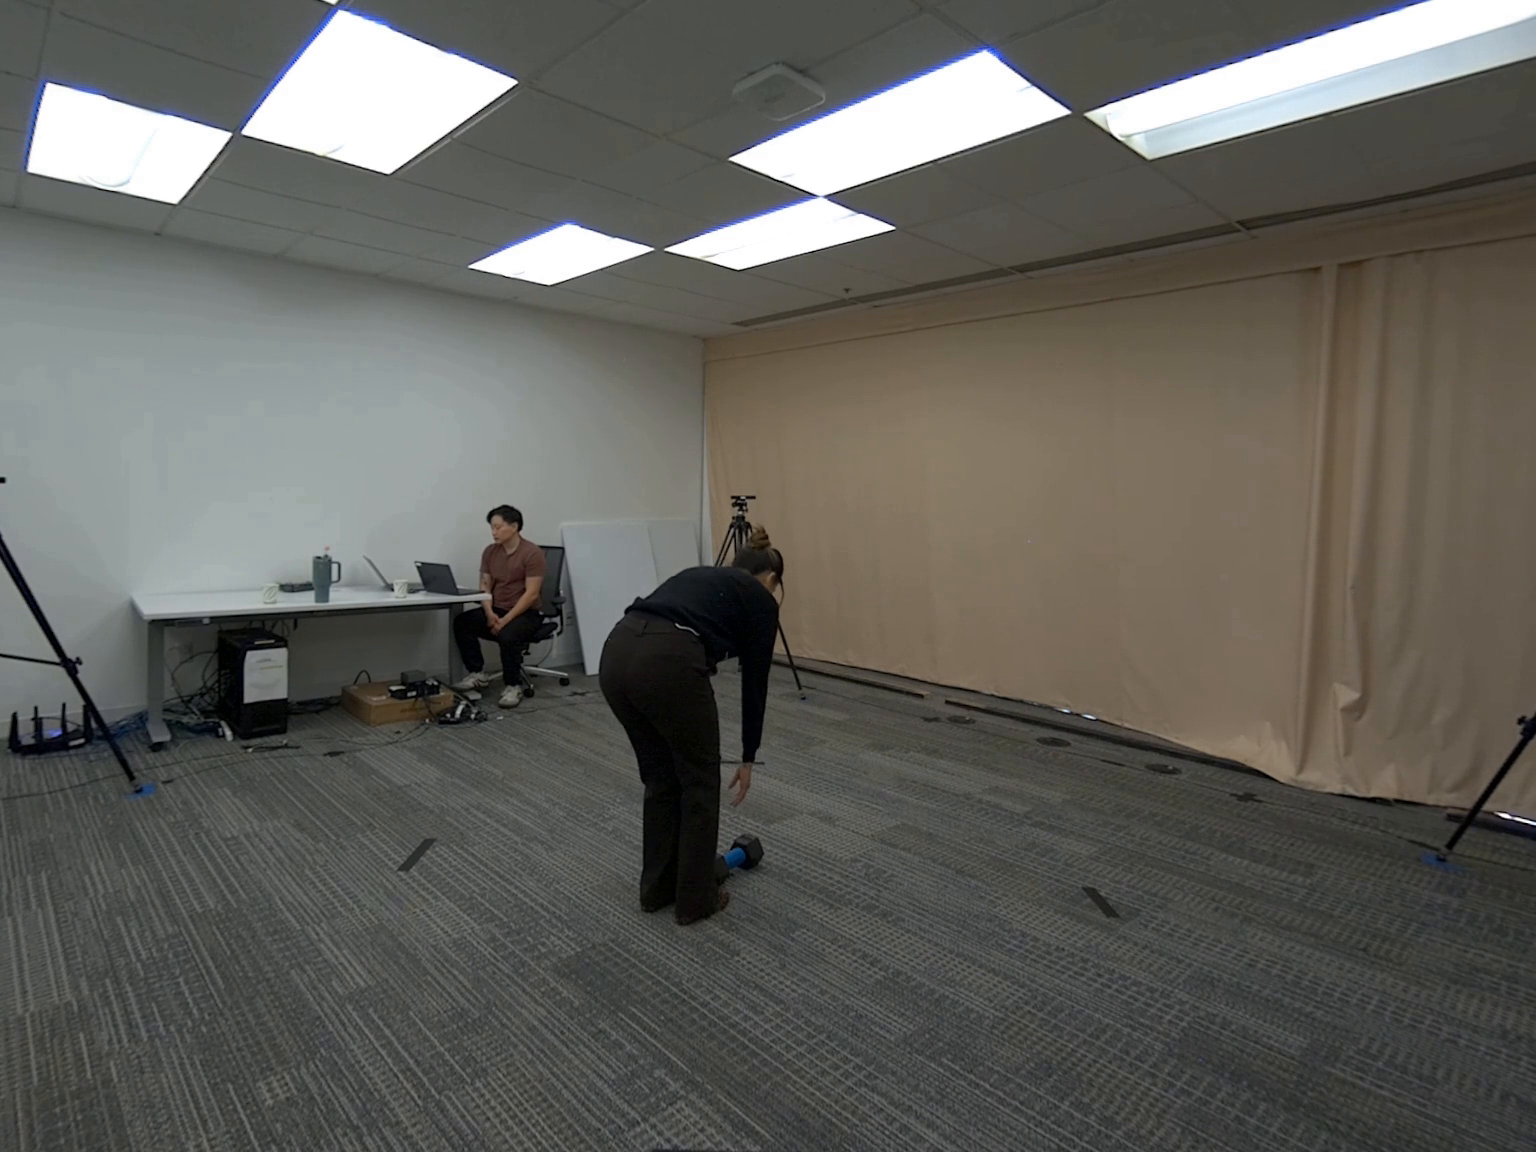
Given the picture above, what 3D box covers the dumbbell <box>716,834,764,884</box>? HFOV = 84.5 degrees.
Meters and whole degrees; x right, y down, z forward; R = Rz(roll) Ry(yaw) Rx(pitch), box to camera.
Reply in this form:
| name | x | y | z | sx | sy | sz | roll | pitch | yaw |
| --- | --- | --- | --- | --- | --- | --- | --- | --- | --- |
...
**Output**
| name | x | y | z | sx | sy | sz | roll | pitch | yaw |
| --- | --- | --- | --- | --- | --- | --- | --- | --- | --- |
| dumbbell | -0.149 | 1.051 | 3.099 | 0.109 | 0.124 | 0.287 | -30 | -14 | 34 |
